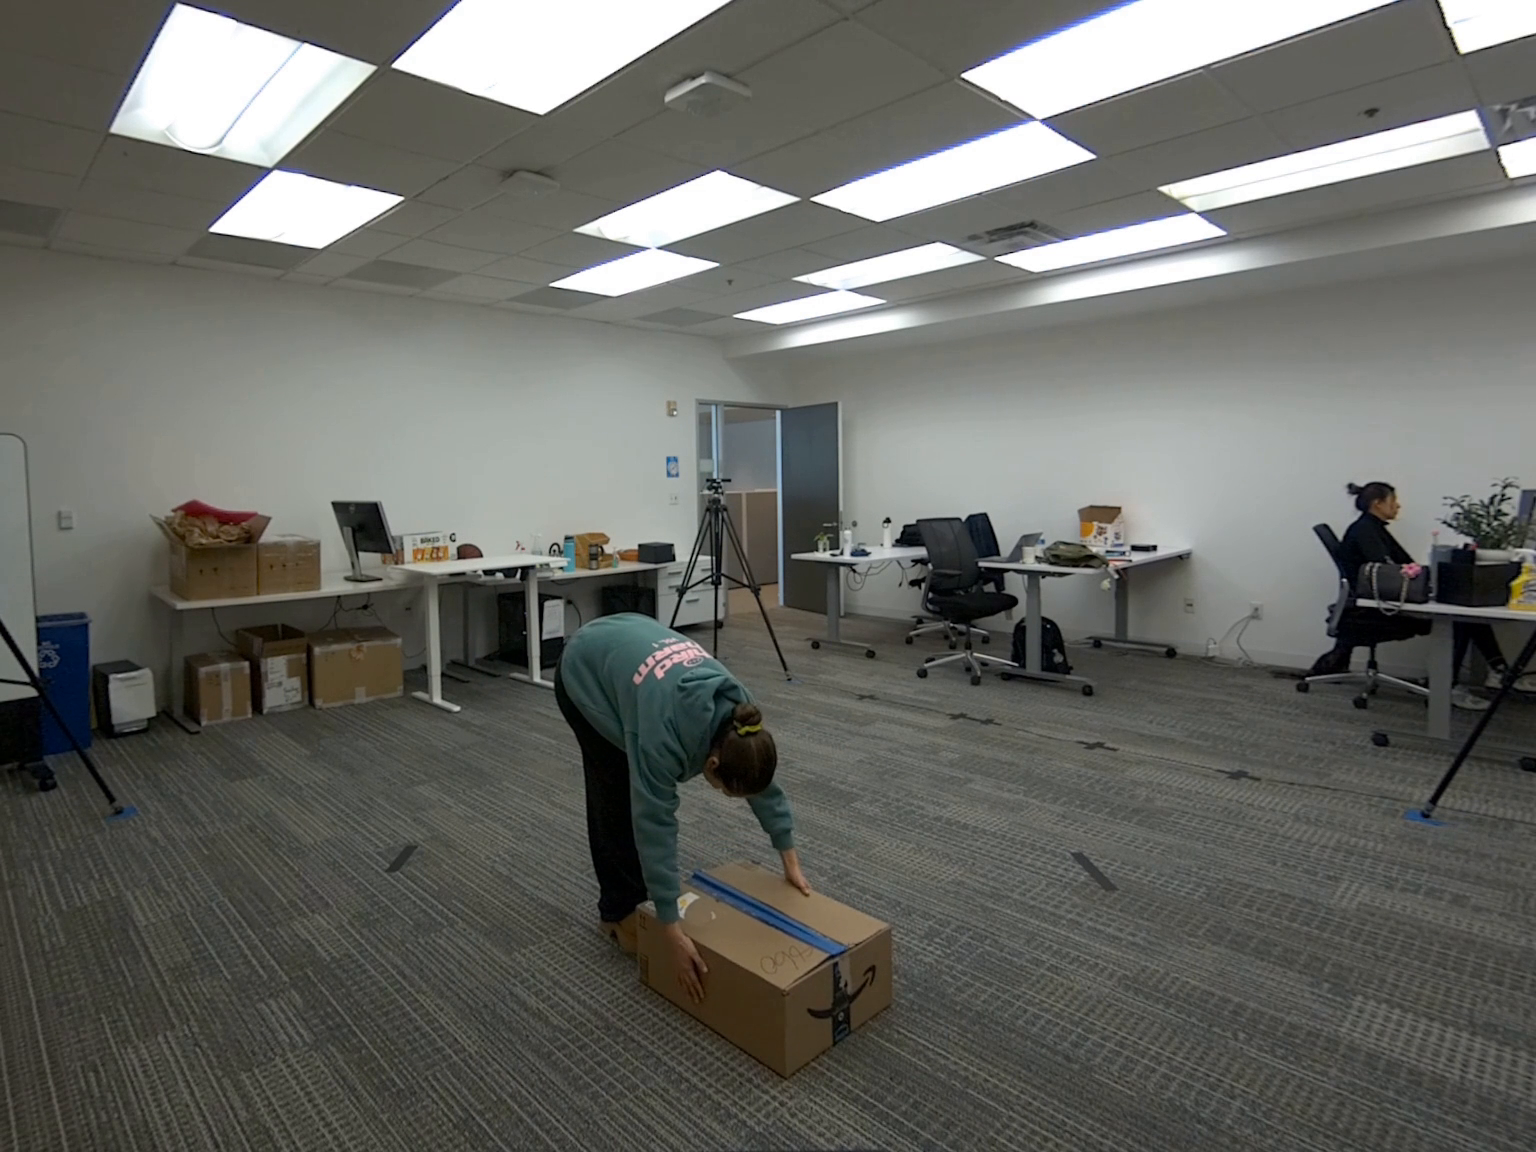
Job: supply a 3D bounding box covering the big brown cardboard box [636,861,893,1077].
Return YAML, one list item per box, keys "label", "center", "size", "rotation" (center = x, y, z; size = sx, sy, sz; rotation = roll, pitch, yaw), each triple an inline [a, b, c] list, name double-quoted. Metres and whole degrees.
- label: "big brown cardboard box"
  center: [-0.021, 1.030, 2.321]
  size: [0.407, 0.232, 0.608]
  rotation: [-7, 10, -44]
